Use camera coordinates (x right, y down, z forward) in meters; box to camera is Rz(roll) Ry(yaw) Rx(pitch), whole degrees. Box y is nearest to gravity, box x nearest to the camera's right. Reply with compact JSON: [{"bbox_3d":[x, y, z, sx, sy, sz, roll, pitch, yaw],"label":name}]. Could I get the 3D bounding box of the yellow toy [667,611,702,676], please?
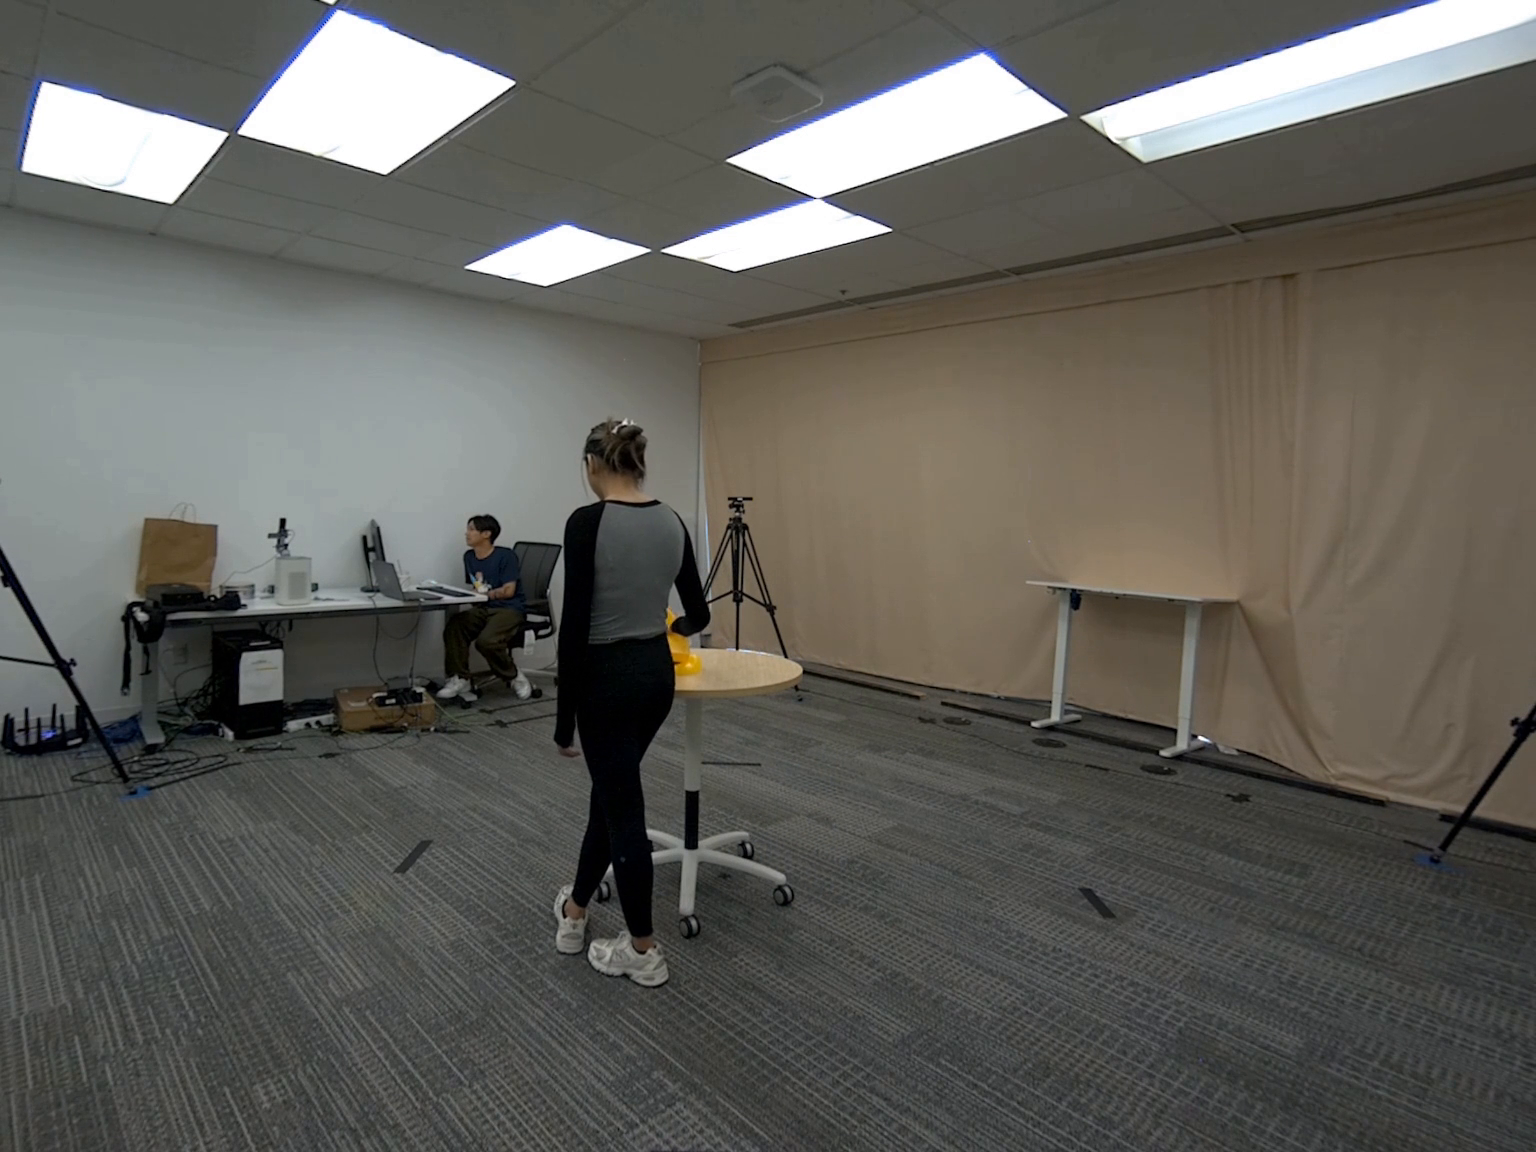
[{"bbox_3d":[-0.336,0.215,2.910,0.208,0.230,0.190,2,4,20],"label":"yellow toy"}]
